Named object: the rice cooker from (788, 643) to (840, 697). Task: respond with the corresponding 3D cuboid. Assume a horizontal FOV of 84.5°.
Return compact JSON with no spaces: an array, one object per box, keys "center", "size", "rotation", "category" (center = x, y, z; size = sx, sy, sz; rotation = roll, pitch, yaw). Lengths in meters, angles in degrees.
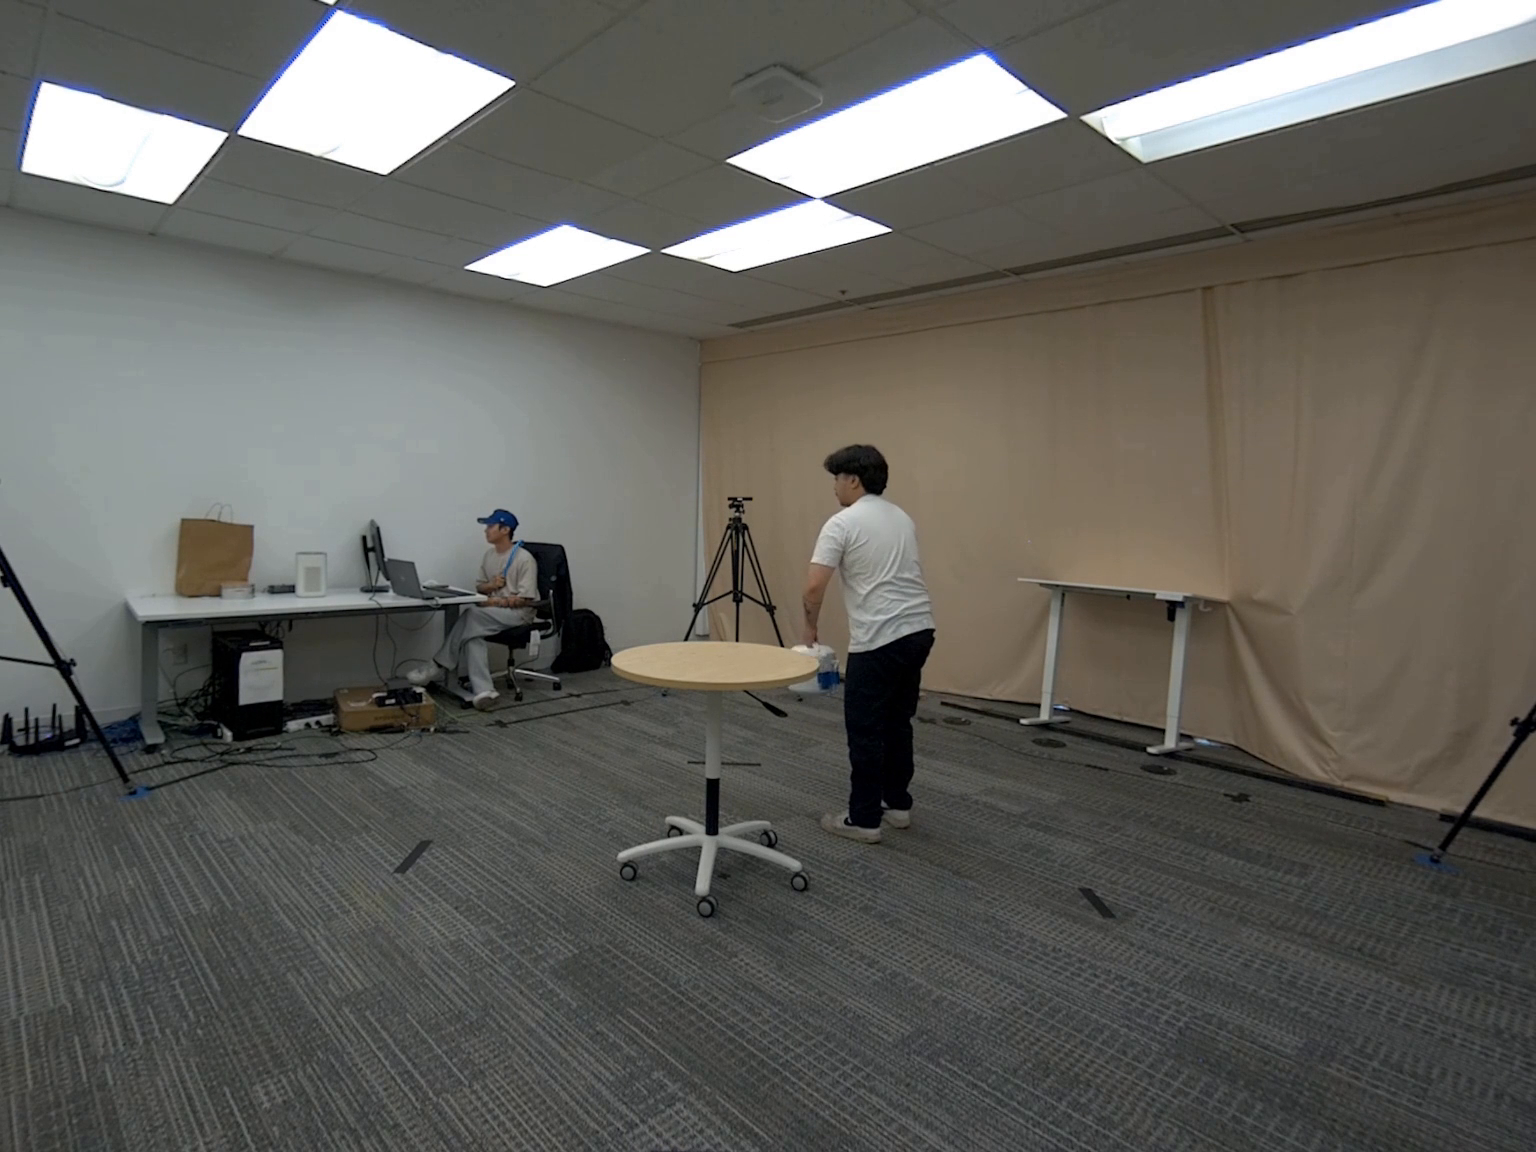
[{"center":[0.189,0.401,3.732],"size":[0.216,0.233,0.222],"rotation":[1,0,-10],"category":"rice cooker"}]
